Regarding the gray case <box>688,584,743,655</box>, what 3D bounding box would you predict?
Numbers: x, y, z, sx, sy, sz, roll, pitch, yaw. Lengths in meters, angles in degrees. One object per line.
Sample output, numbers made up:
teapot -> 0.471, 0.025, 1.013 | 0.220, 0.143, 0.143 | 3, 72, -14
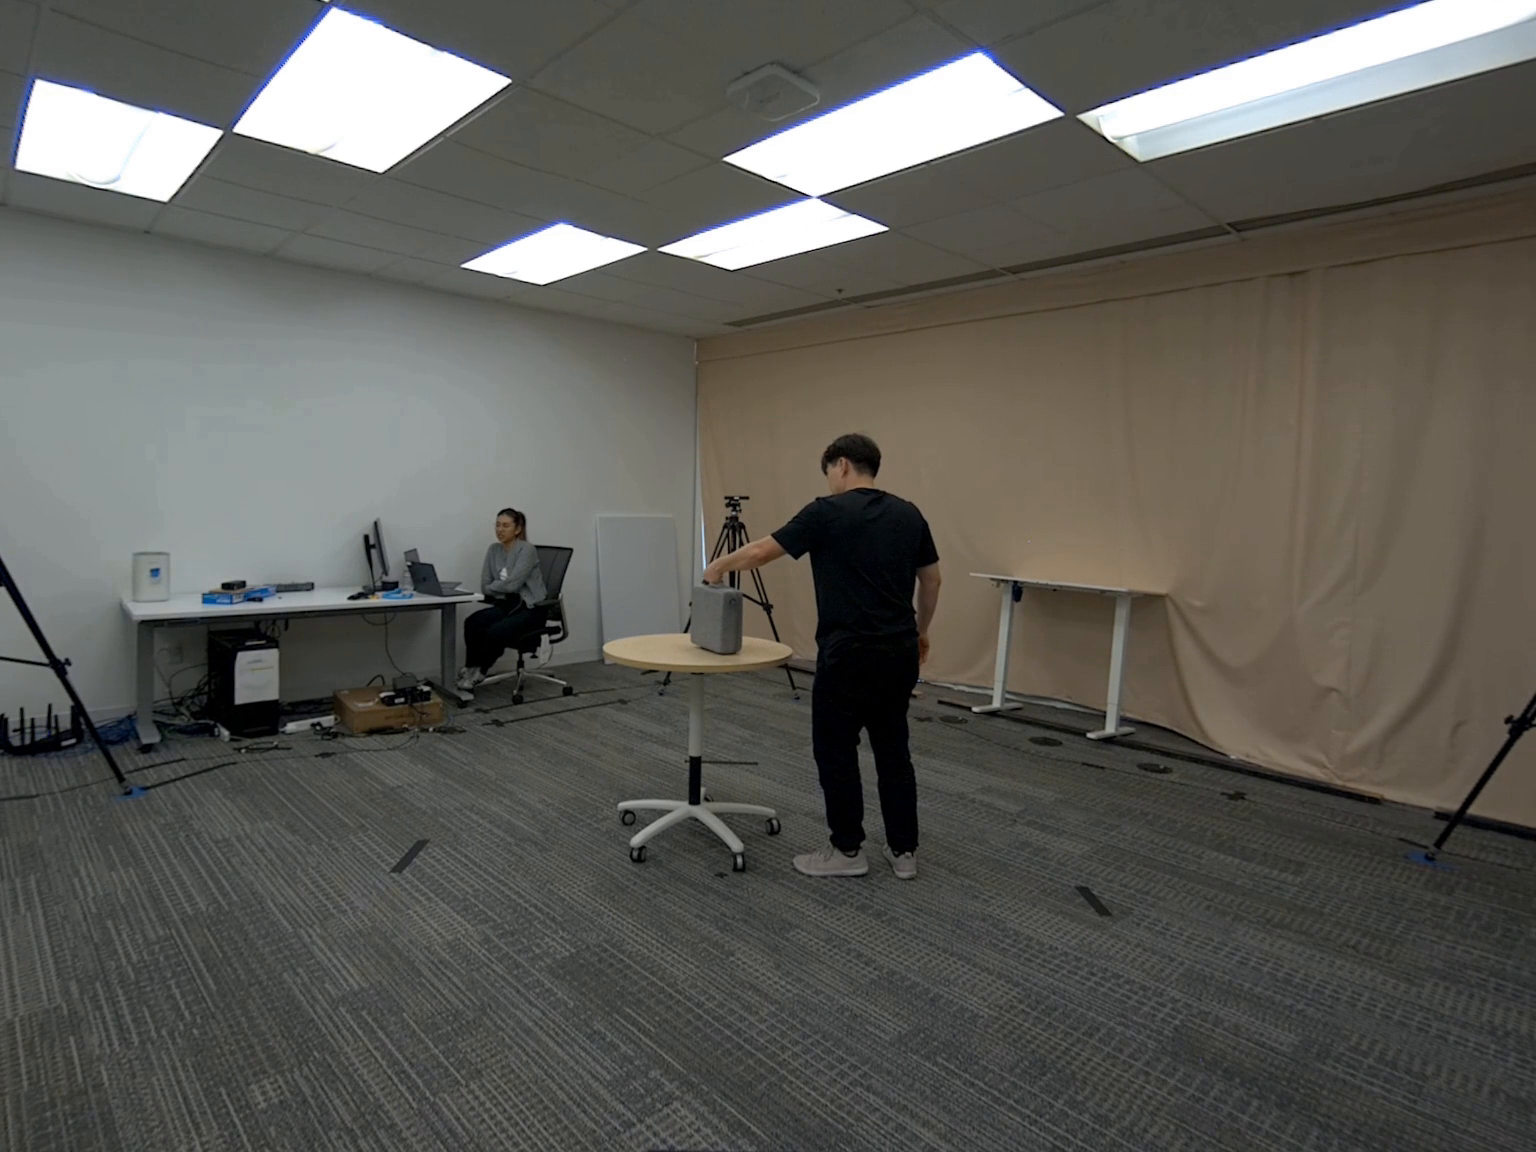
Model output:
gray case -> -0.204, 0.162, 3.342 | 0.102, 0.260, 0.263 | -1, 6, -32
